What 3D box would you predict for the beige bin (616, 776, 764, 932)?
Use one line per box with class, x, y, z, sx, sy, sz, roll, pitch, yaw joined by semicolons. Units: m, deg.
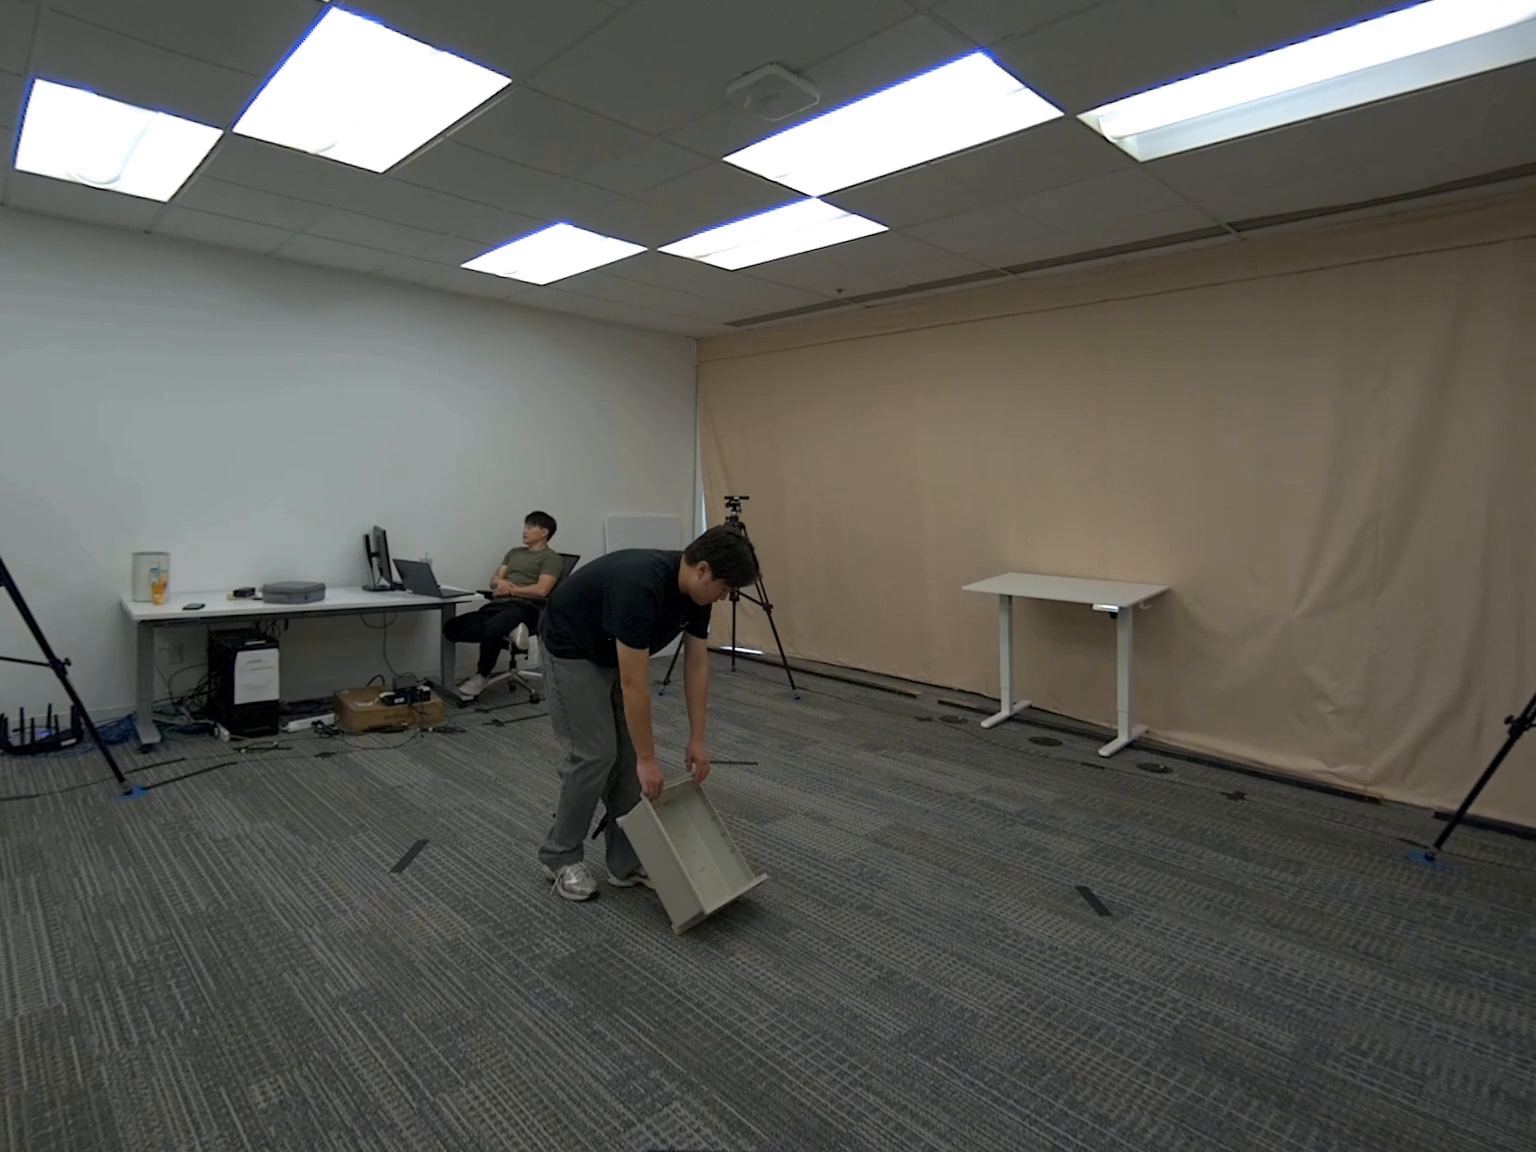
beige bin;-0.249;0.915;2.833;0.369;0.432;0.189;-4;-37;-53
